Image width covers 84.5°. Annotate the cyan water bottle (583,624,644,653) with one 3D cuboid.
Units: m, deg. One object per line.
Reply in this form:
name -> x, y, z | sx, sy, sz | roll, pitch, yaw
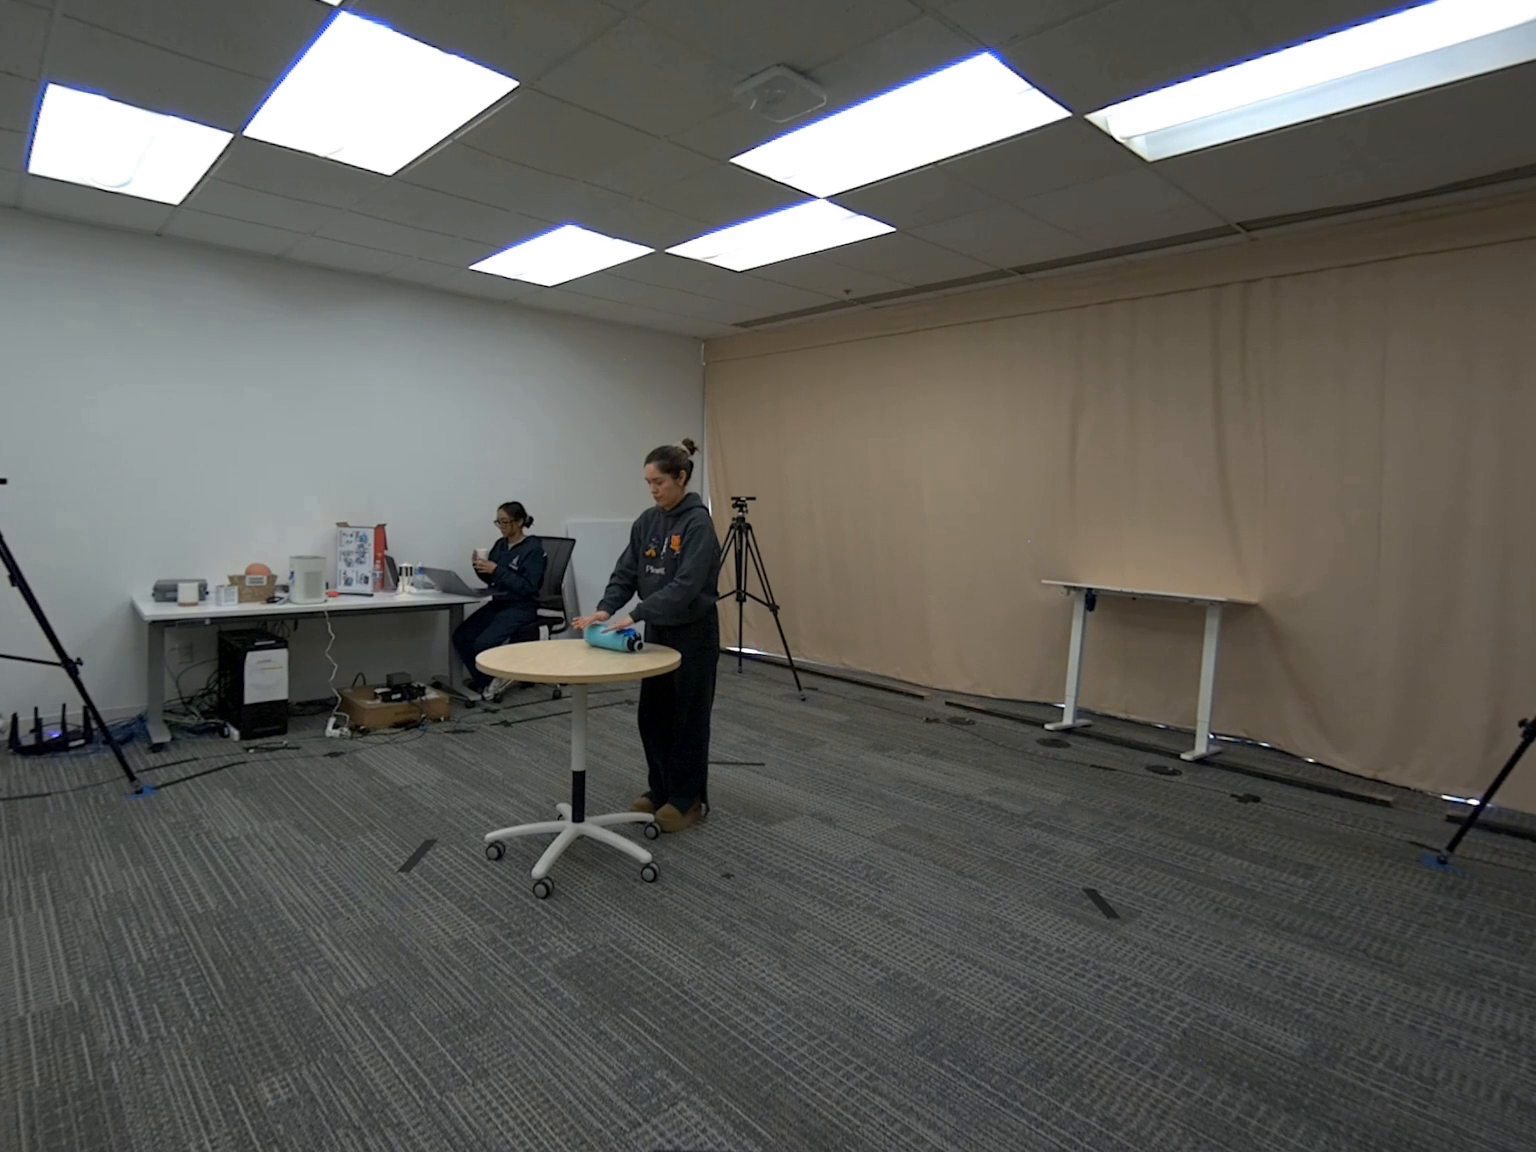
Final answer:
cyan water bottle -> -0.624, 0.247, 3.346 | 0.290, 0.092, 0.090 | 5, 6, 38
